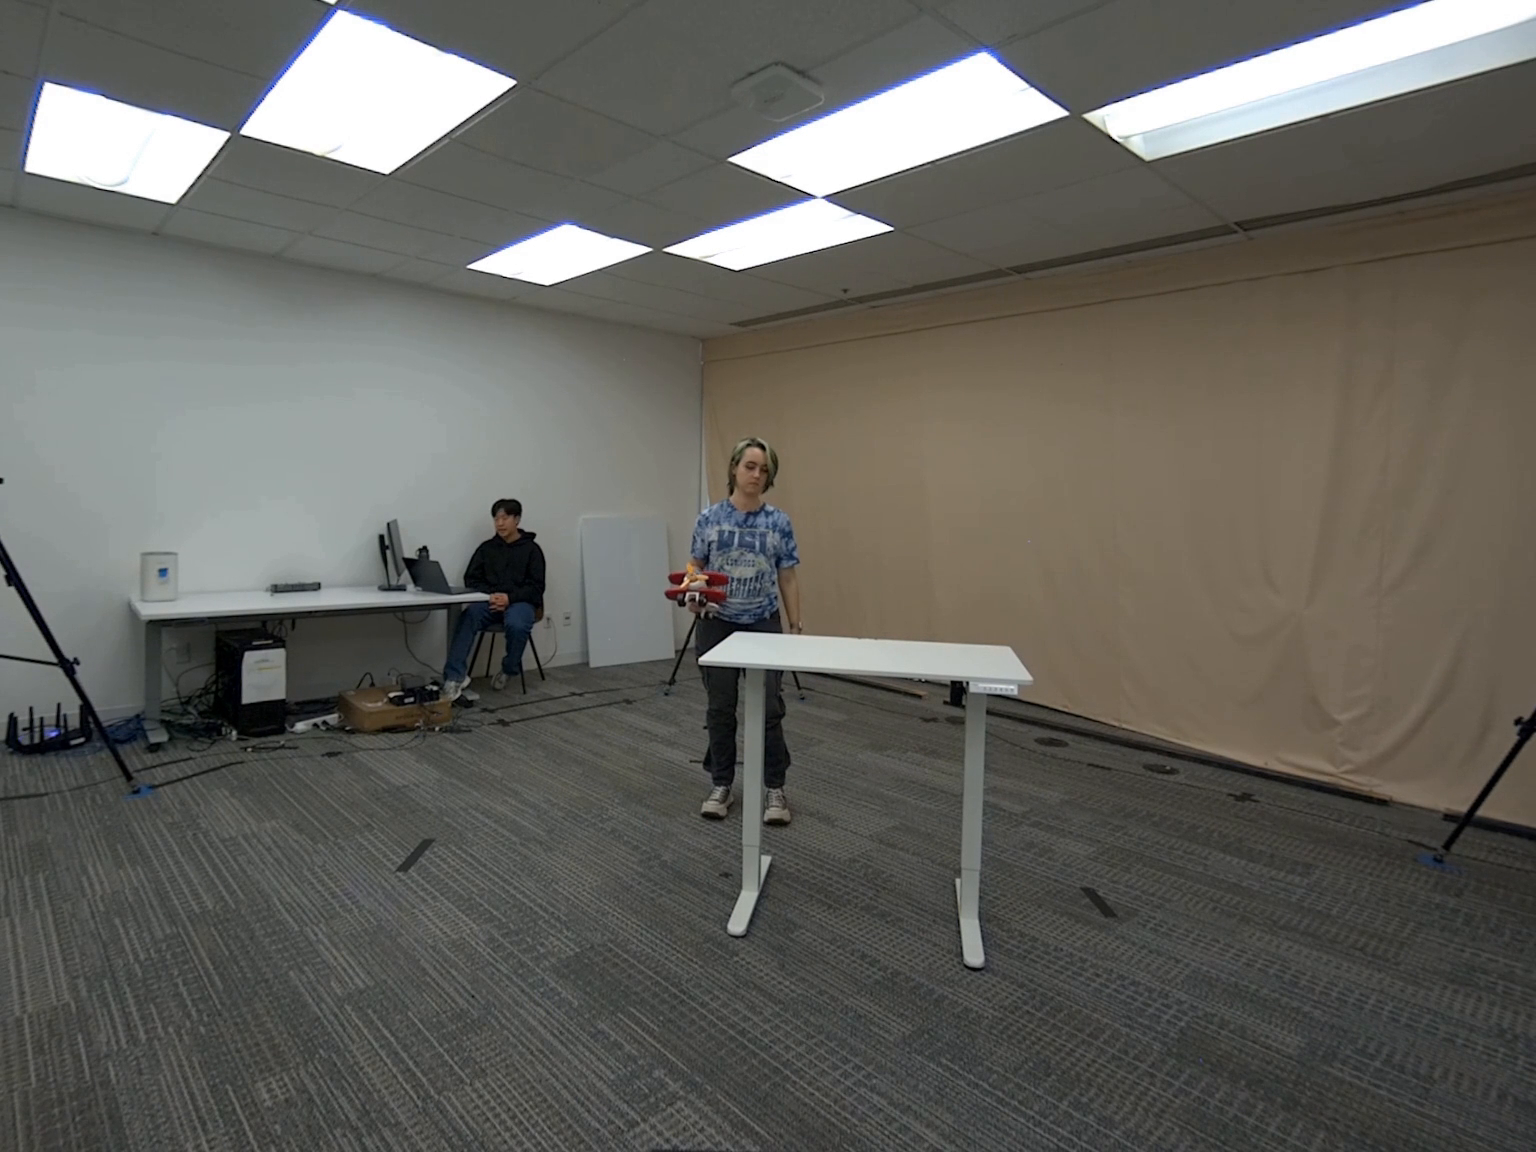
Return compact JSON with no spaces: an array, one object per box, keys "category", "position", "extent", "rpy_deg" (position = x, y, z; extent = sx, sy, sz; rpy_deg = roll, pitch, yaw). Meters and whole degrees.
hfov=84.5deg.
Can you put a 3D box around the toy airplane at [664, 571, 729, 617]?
[{"category":"toy airplane","position":[-0.320,0.072,3.435],"extent":[0.248,0.158,0.259],"rpy_deg":[11,-20,-15]}]
